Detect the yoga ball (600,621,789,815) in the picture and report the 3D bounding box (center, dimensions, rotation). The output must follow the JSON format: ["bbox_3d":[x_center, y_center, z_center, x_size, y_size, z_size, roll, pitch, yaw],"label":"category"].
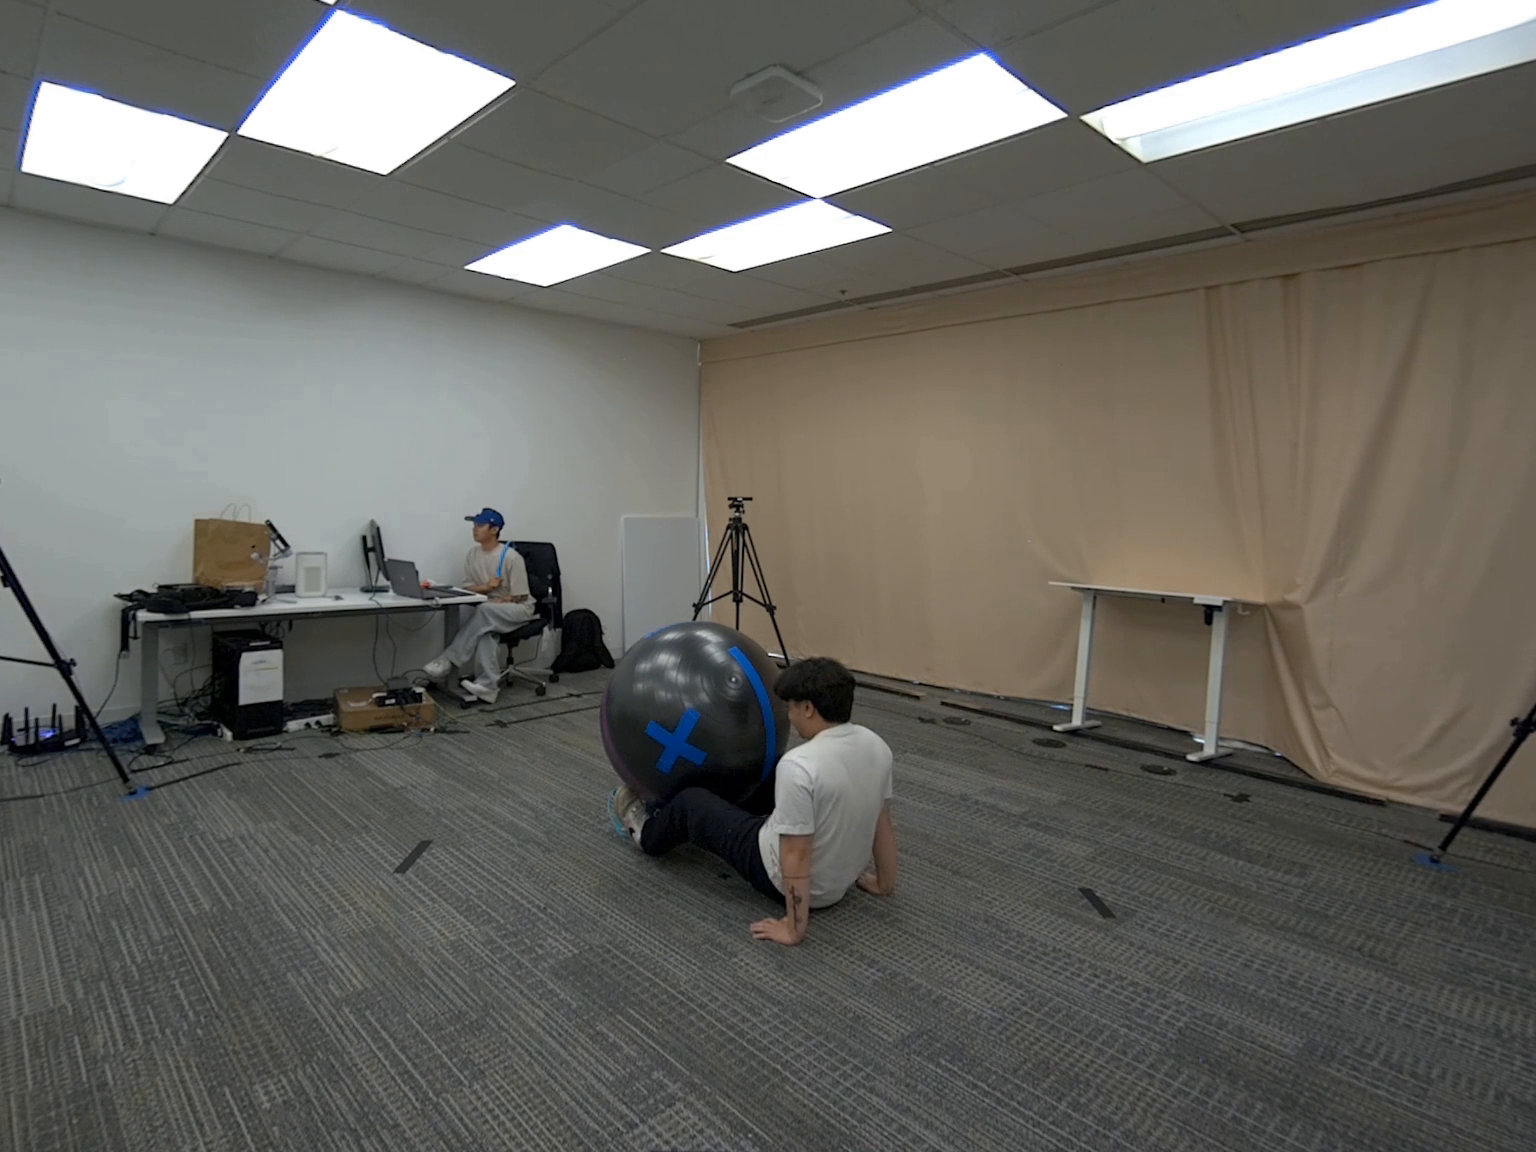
[{"bbox_3d":[-0.296,0.561,3.363,0.757,0.756,0.760,1,4,-1],"label":"yoga ball"}]
